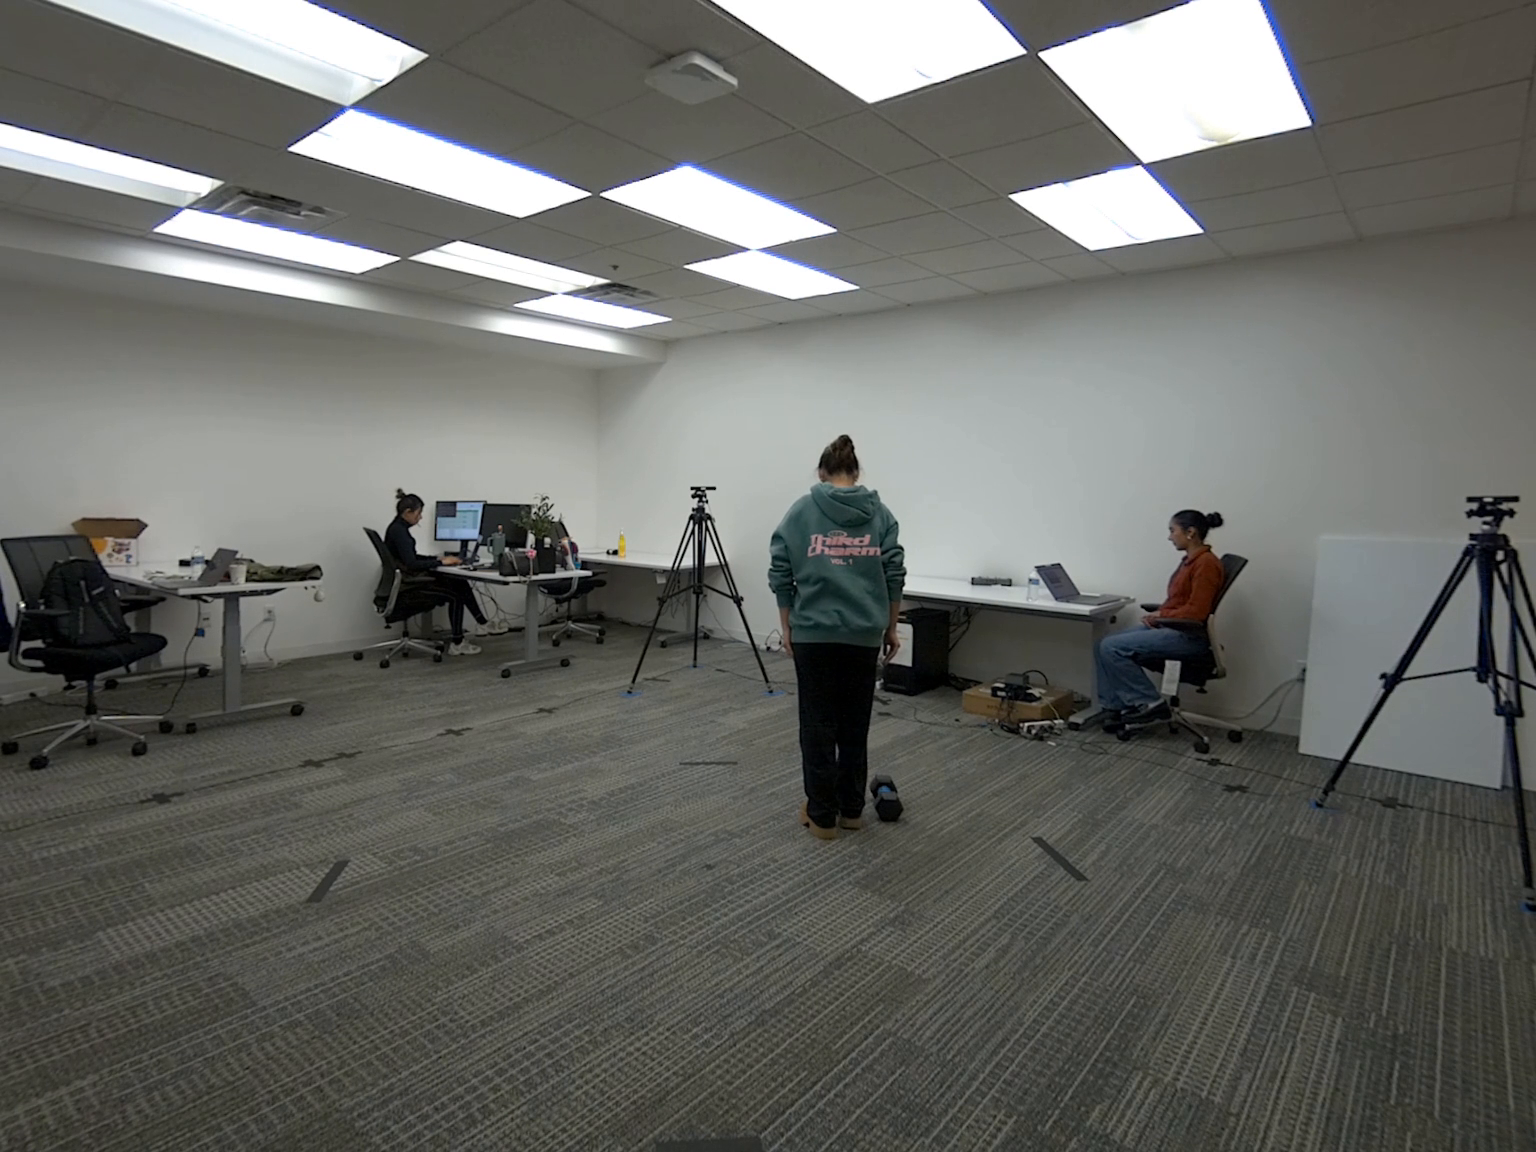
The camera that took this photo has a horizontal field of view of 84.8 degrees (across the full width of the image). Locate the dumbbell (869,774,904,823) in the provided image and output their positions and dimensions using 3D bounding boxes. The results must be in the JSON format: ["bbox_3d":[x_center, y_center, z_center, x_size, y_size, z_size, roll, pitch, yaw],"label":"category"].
[{"bbox_3d":[0.508,0.965,3.723,0.109,0.123,0.294,29,6,-2],"label":"dumbbell"}]
